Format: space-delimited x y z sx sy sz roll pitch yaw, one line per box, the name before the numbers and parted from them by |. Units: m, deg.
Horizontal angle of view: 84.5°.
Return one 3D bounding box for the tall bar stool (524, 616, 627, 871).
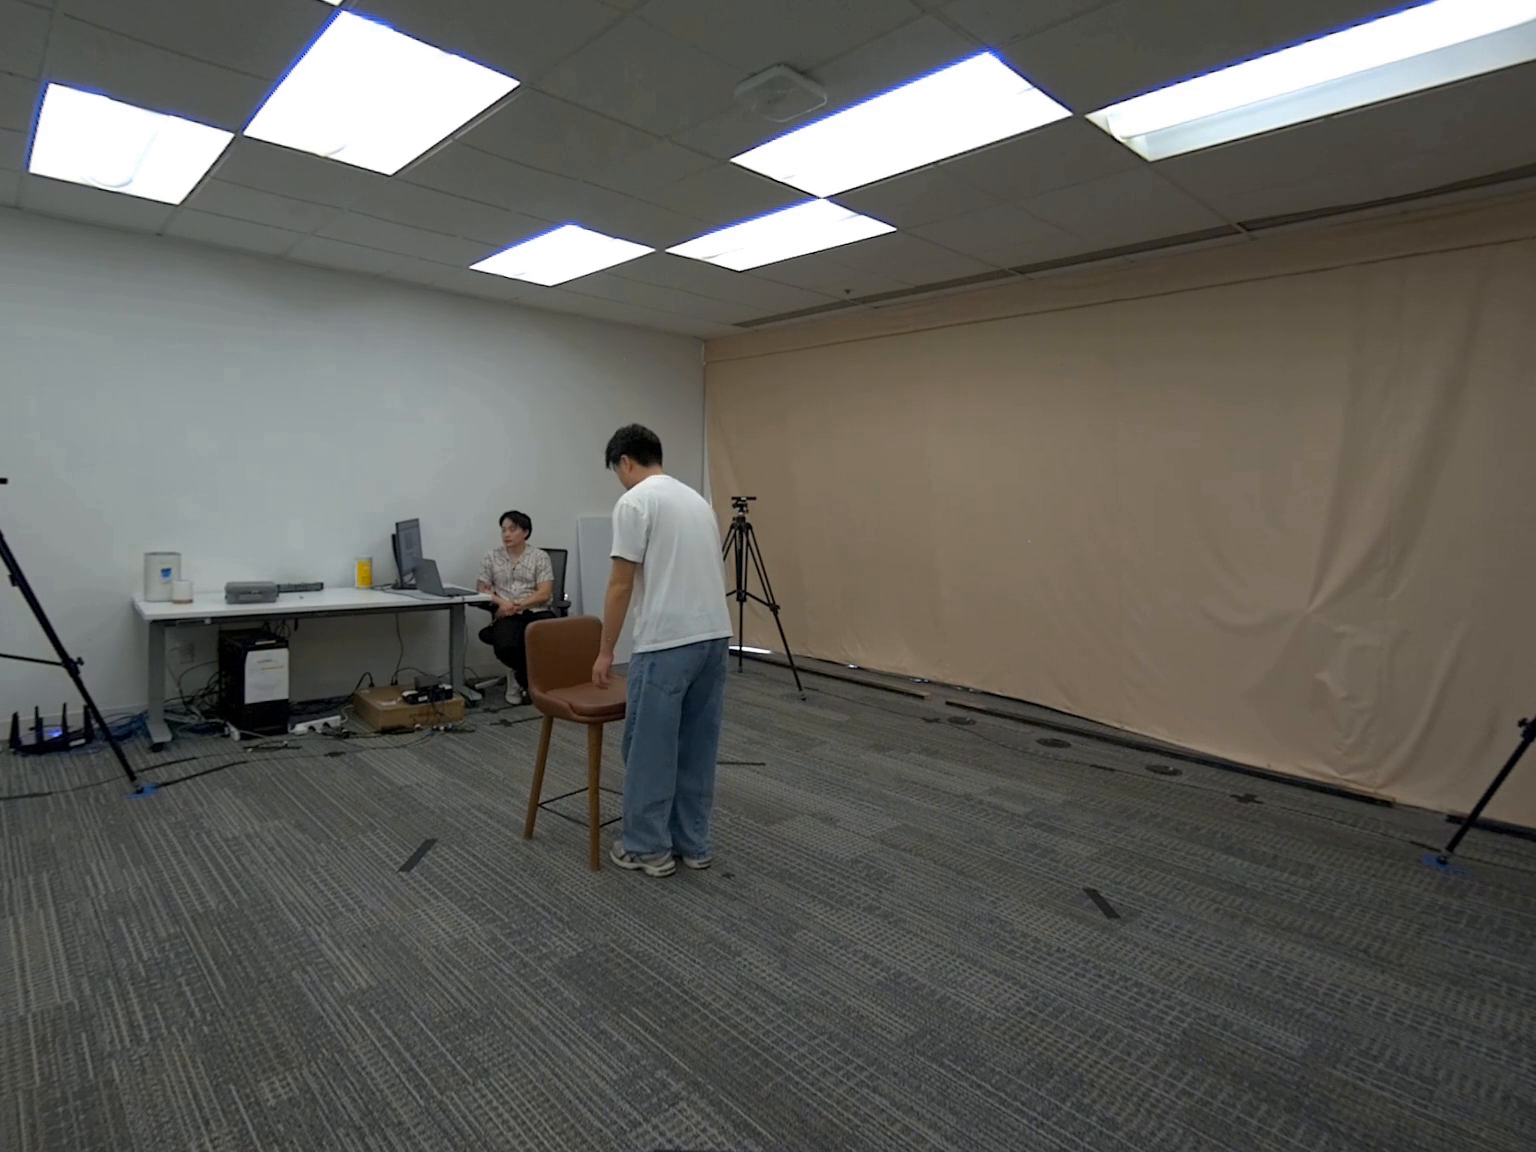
tall bar stool | -0.697 0.629 3.388 0.479 0.889 0.446 1 2 39
